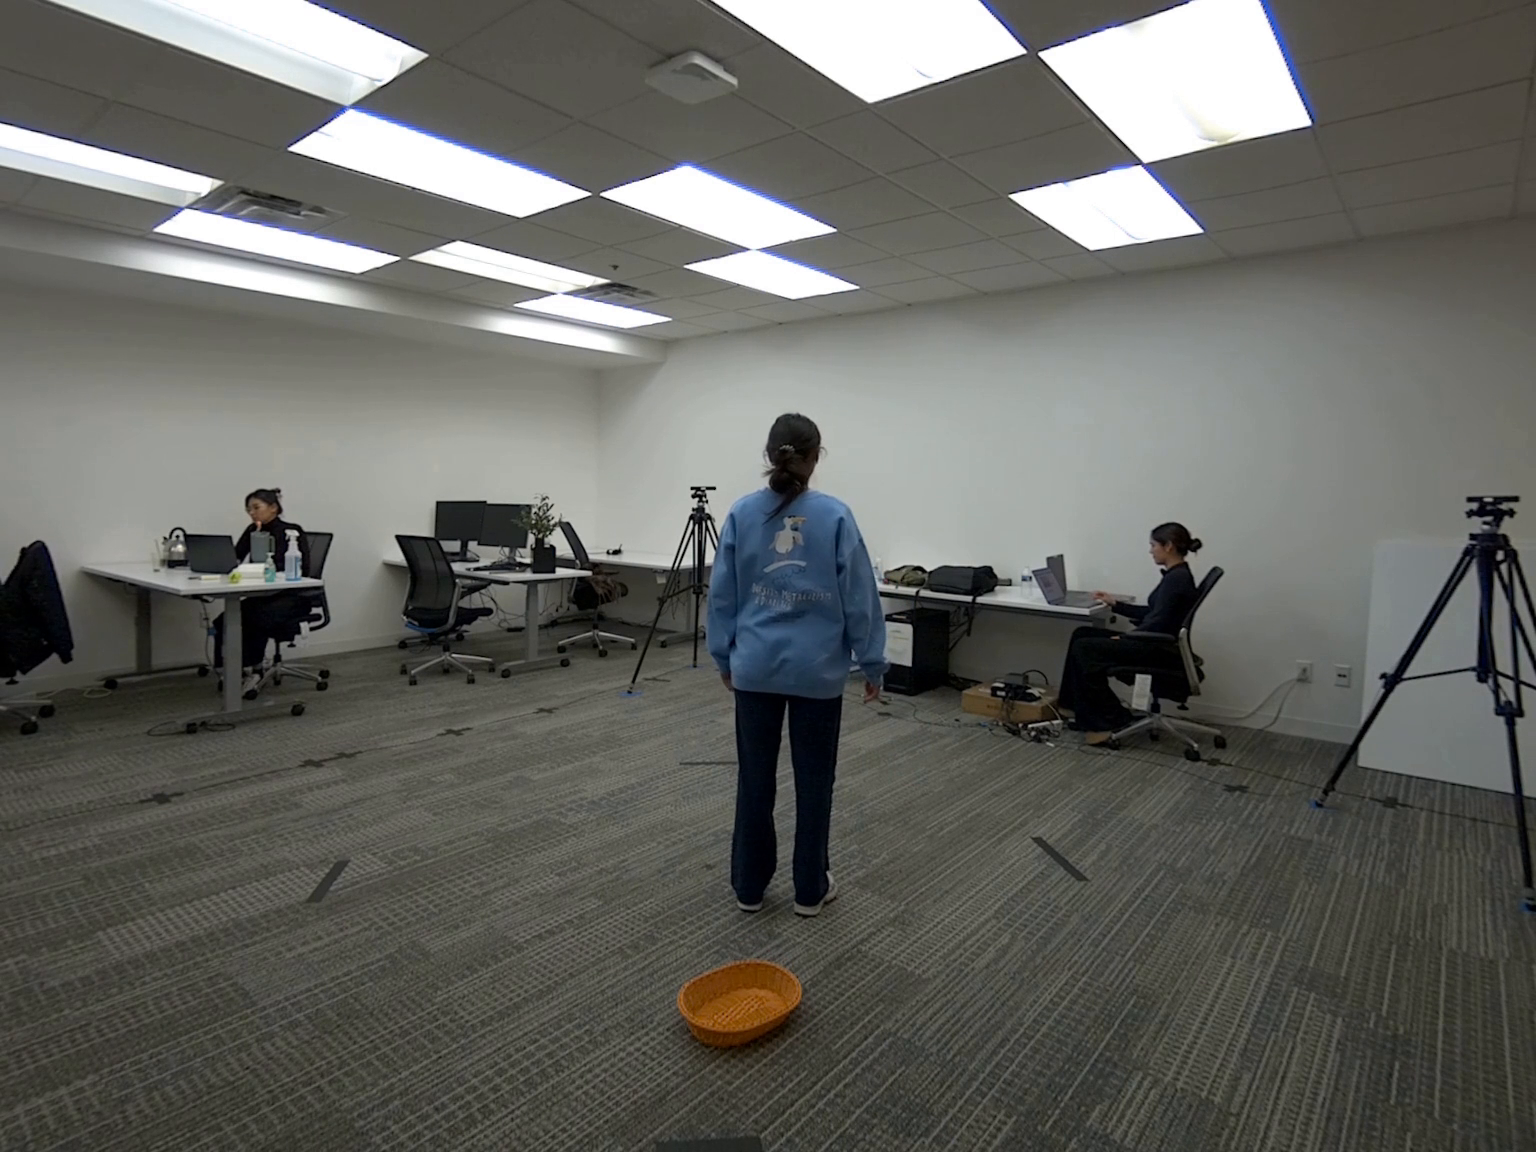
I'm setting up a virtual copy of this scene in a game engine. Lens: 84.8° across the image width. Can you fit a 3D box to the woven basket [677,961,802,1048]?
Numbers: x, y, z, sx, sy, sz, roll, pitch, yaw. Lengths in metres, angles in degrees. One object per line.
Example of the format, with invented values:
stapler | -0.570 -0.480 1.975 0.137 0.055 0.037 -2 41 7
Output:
woven basket | -0.081 1.117 2.232 0.340 0.073 0.261 -4 9 -38
